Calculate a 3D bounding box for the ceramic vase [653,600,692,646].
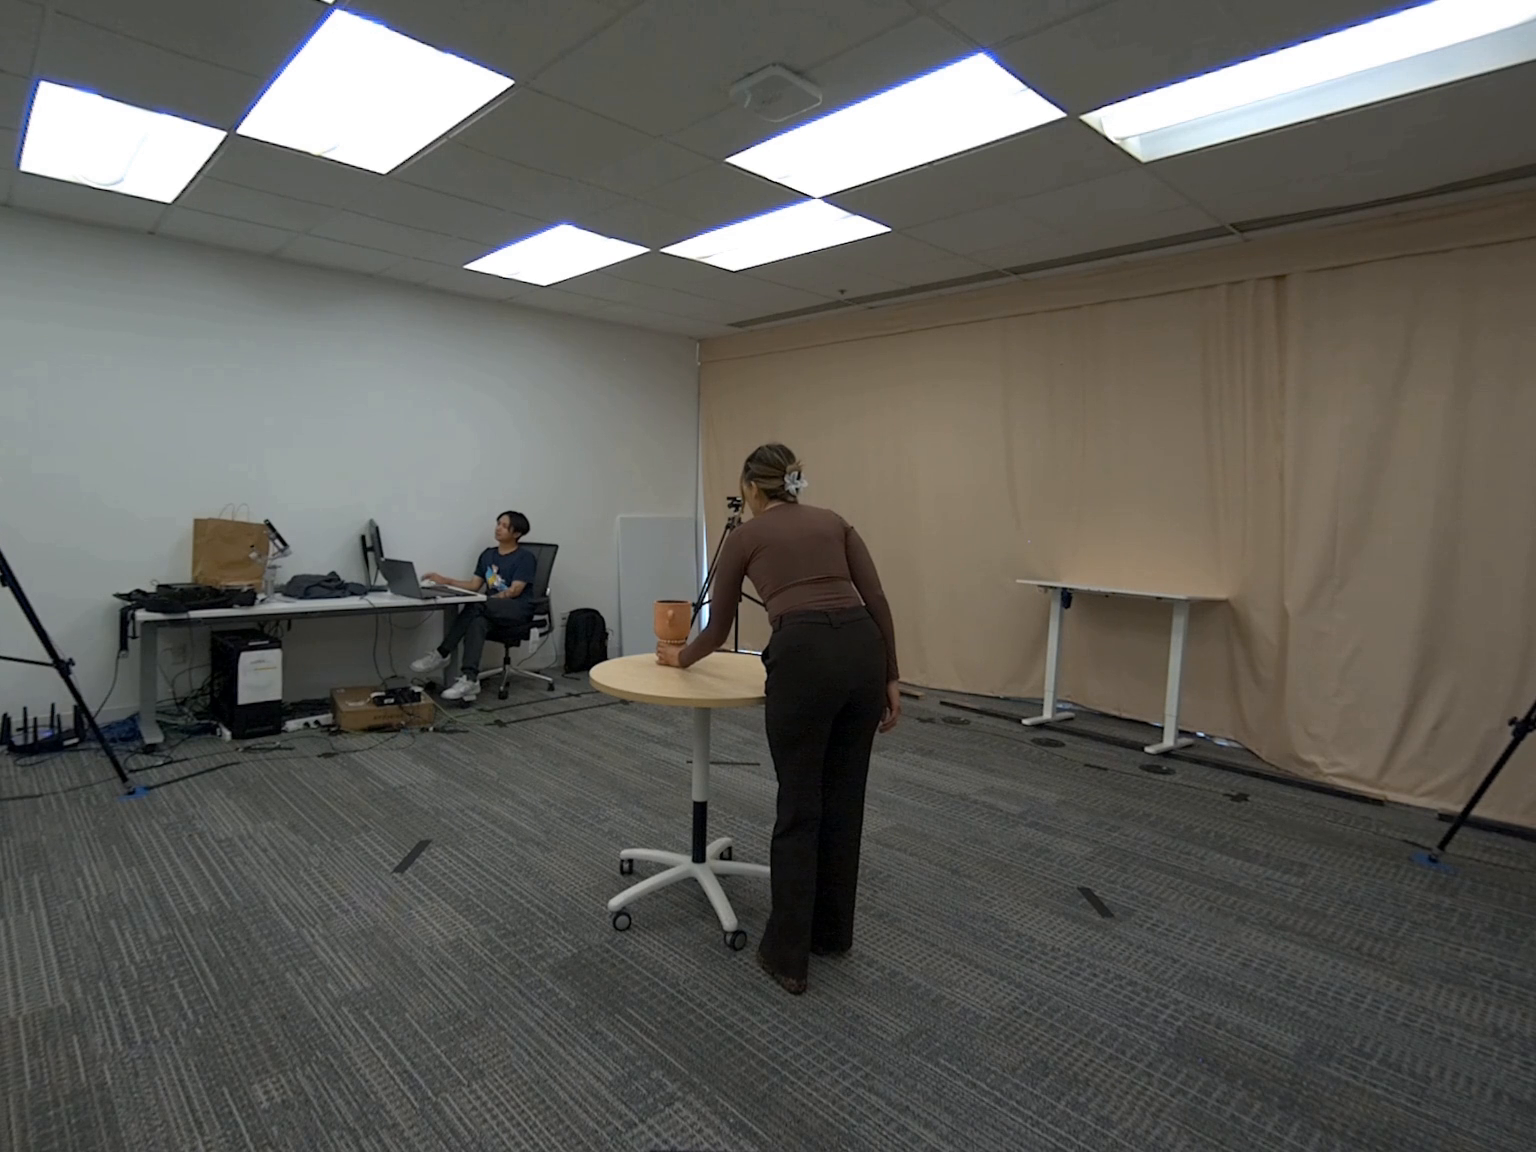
[{"bbox_3d":[-0.348,0.202,3.001,0.138,0.219,0.155,3,2,37],"label":"ceramic vase"}]
